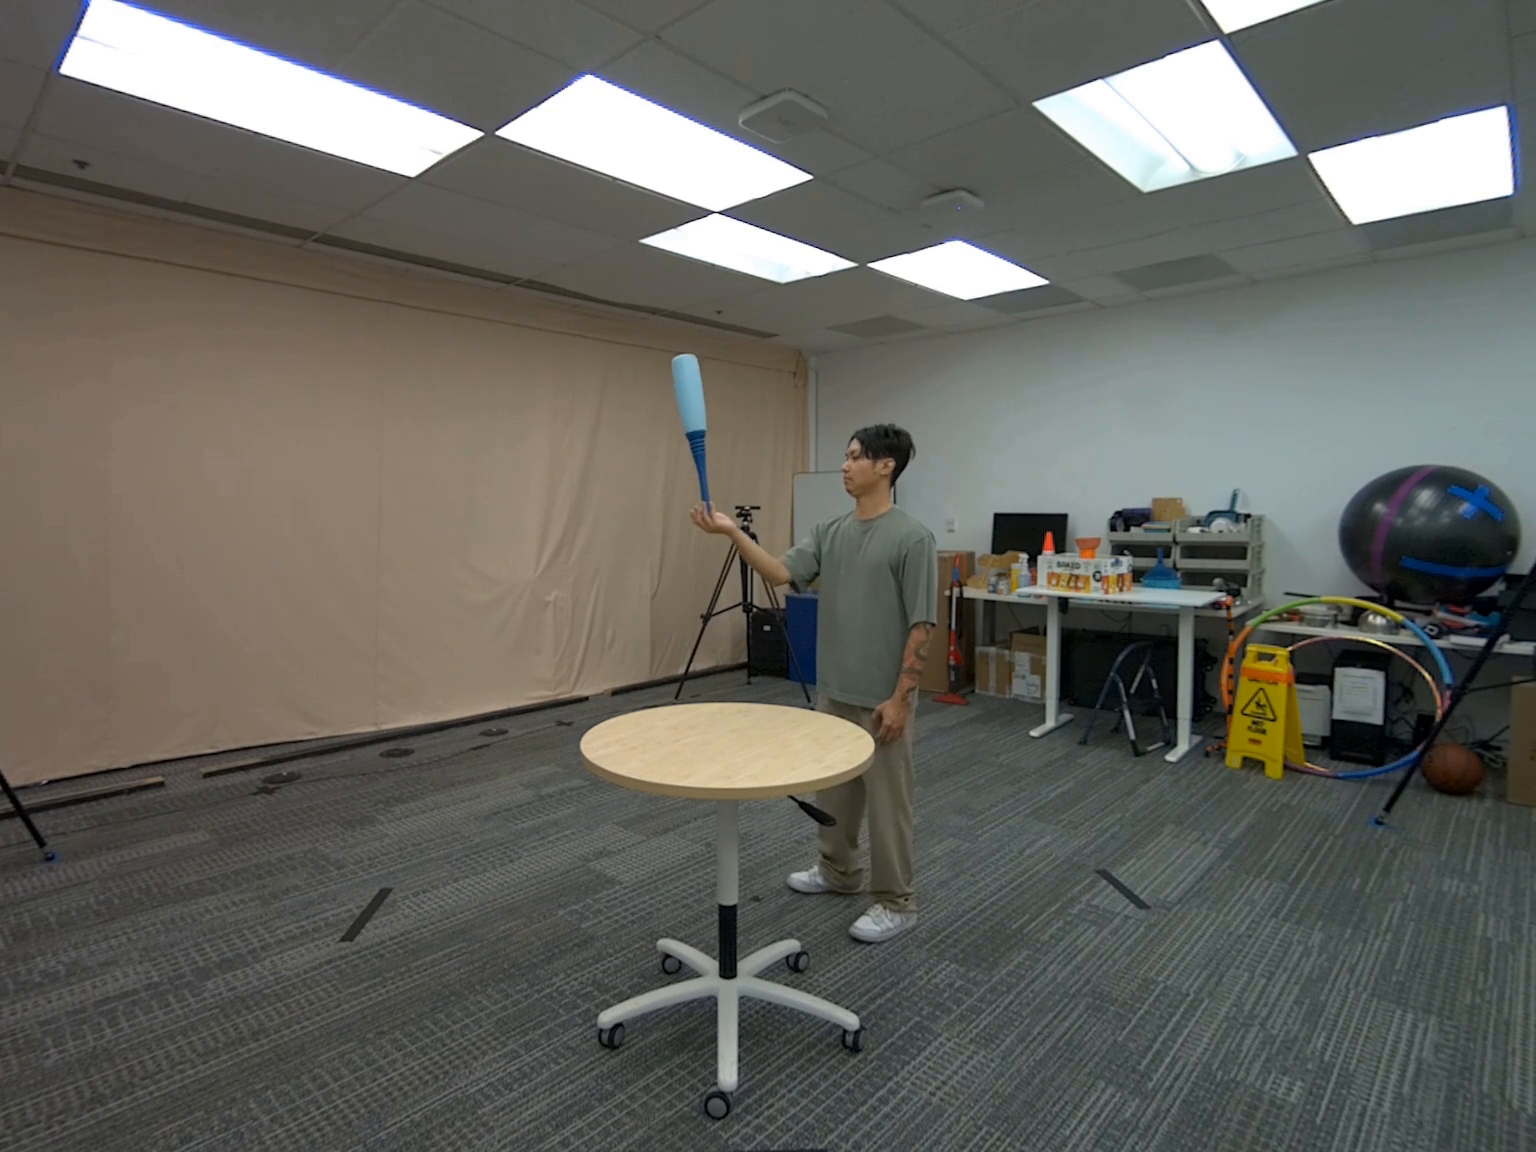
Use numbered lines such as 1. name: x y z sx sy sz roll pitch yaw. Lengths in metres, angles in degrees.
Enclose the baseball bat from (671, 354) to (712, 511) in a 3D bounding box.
1. baseball bat: -0.229 -0.444 2.708 0.089 0.544 0.089 -10 -2 -2
